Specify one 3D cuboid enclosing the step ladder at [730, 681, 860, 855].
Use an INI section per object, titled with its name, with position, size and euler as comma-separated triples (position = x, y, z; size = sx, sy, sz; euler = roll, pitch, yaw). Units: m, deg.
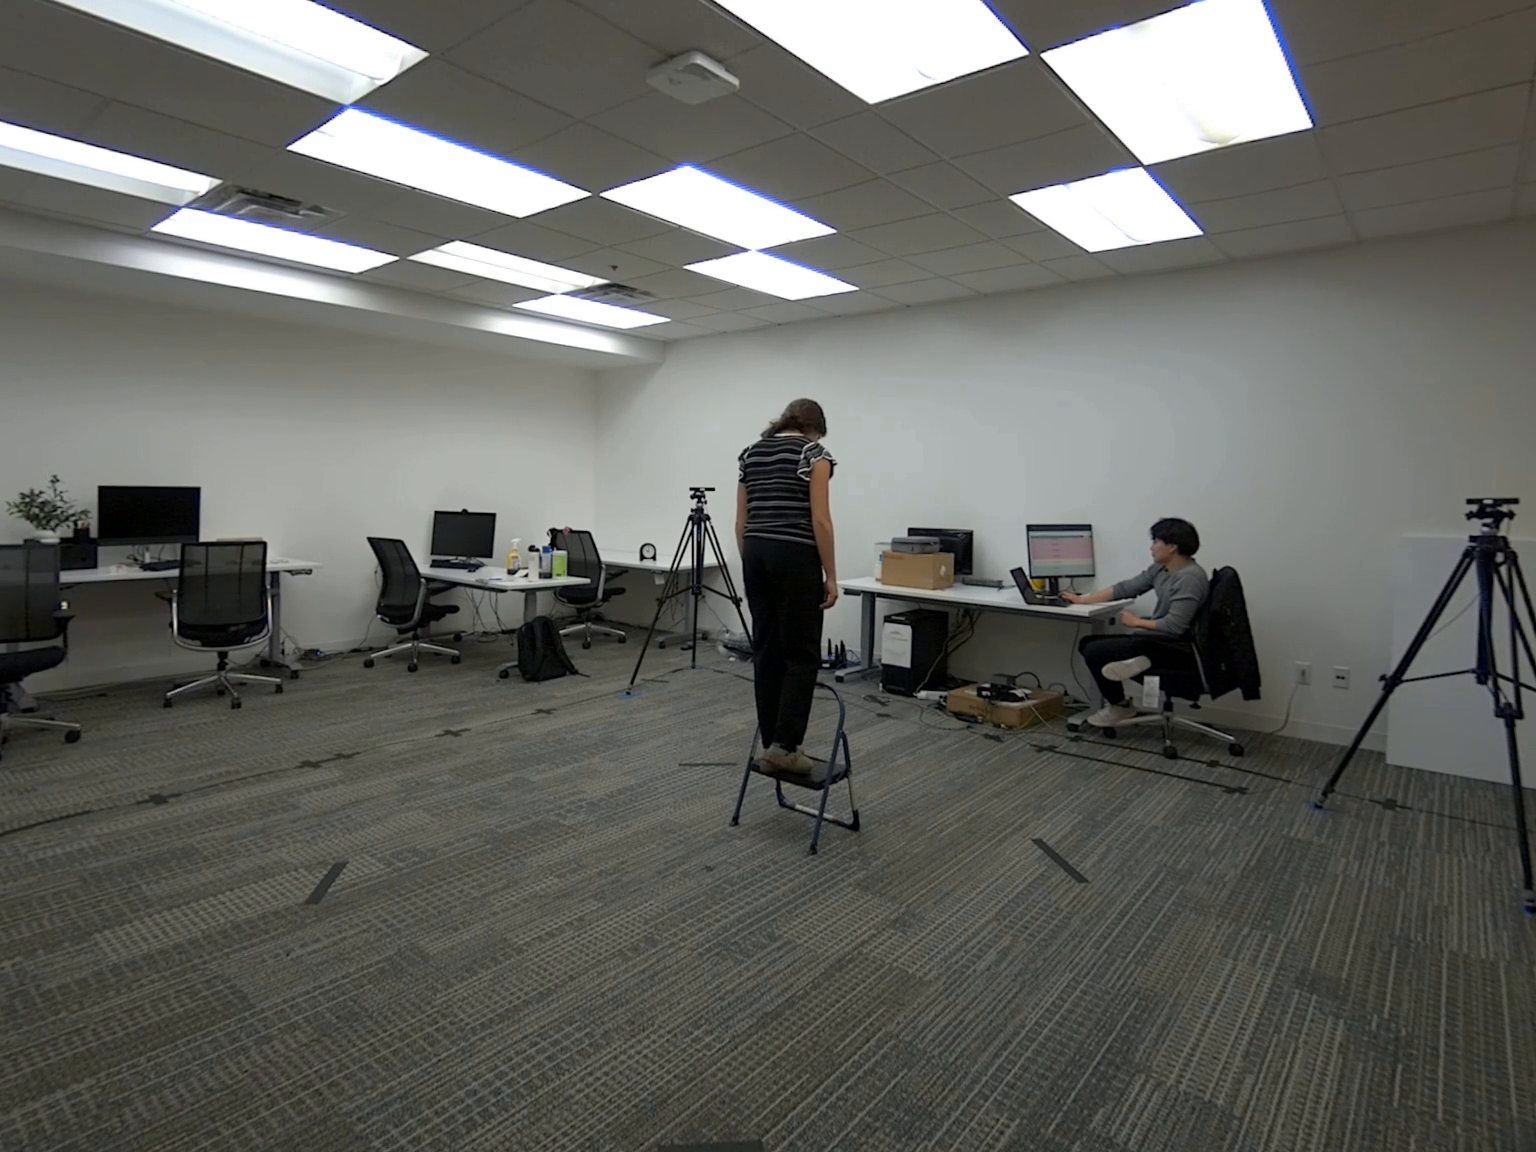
[step ladder]
position = 0.113, 0.733, 3.495
size = 0.445, 0.604, 0.339
euler = 4, 4, 39
